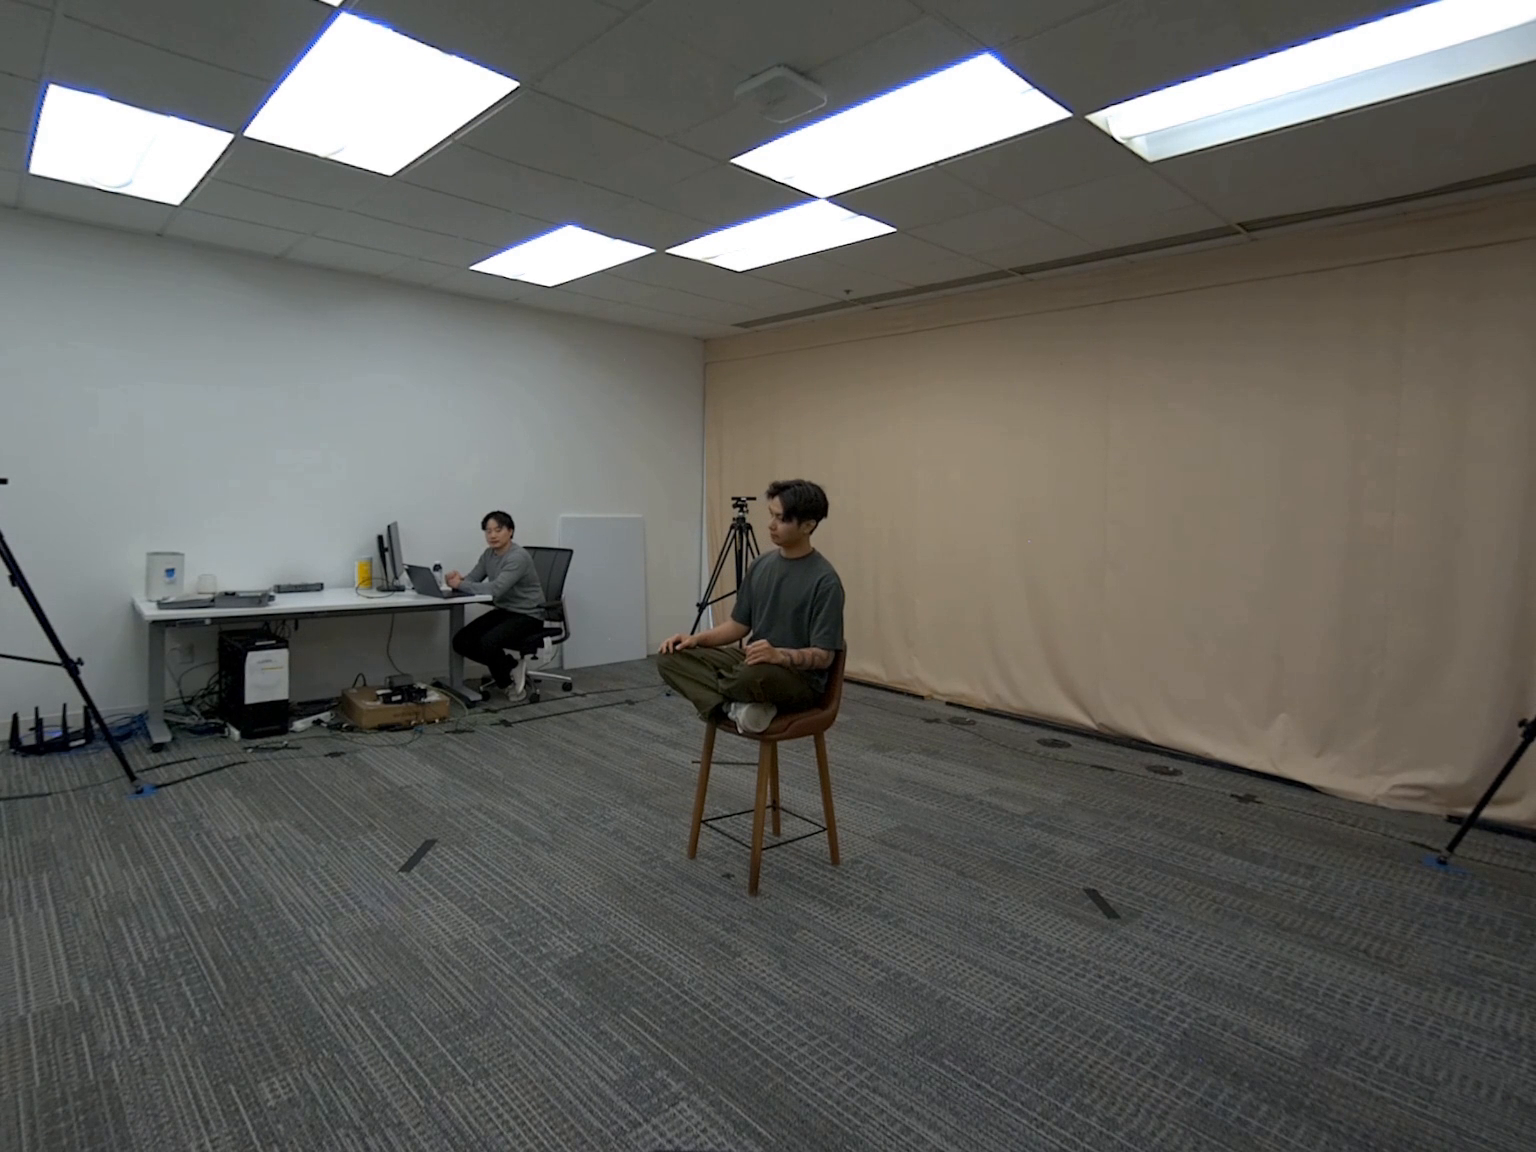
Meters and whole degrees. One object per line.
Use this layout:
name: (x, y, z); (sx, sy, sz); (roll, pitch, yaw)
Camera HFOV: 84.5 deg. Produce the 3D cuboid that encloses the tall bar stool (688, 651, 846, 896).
tall bar stool: (0.002, 0.664, 3.221); (0.456, 0.889, 0.468); (2, 2, -39)
